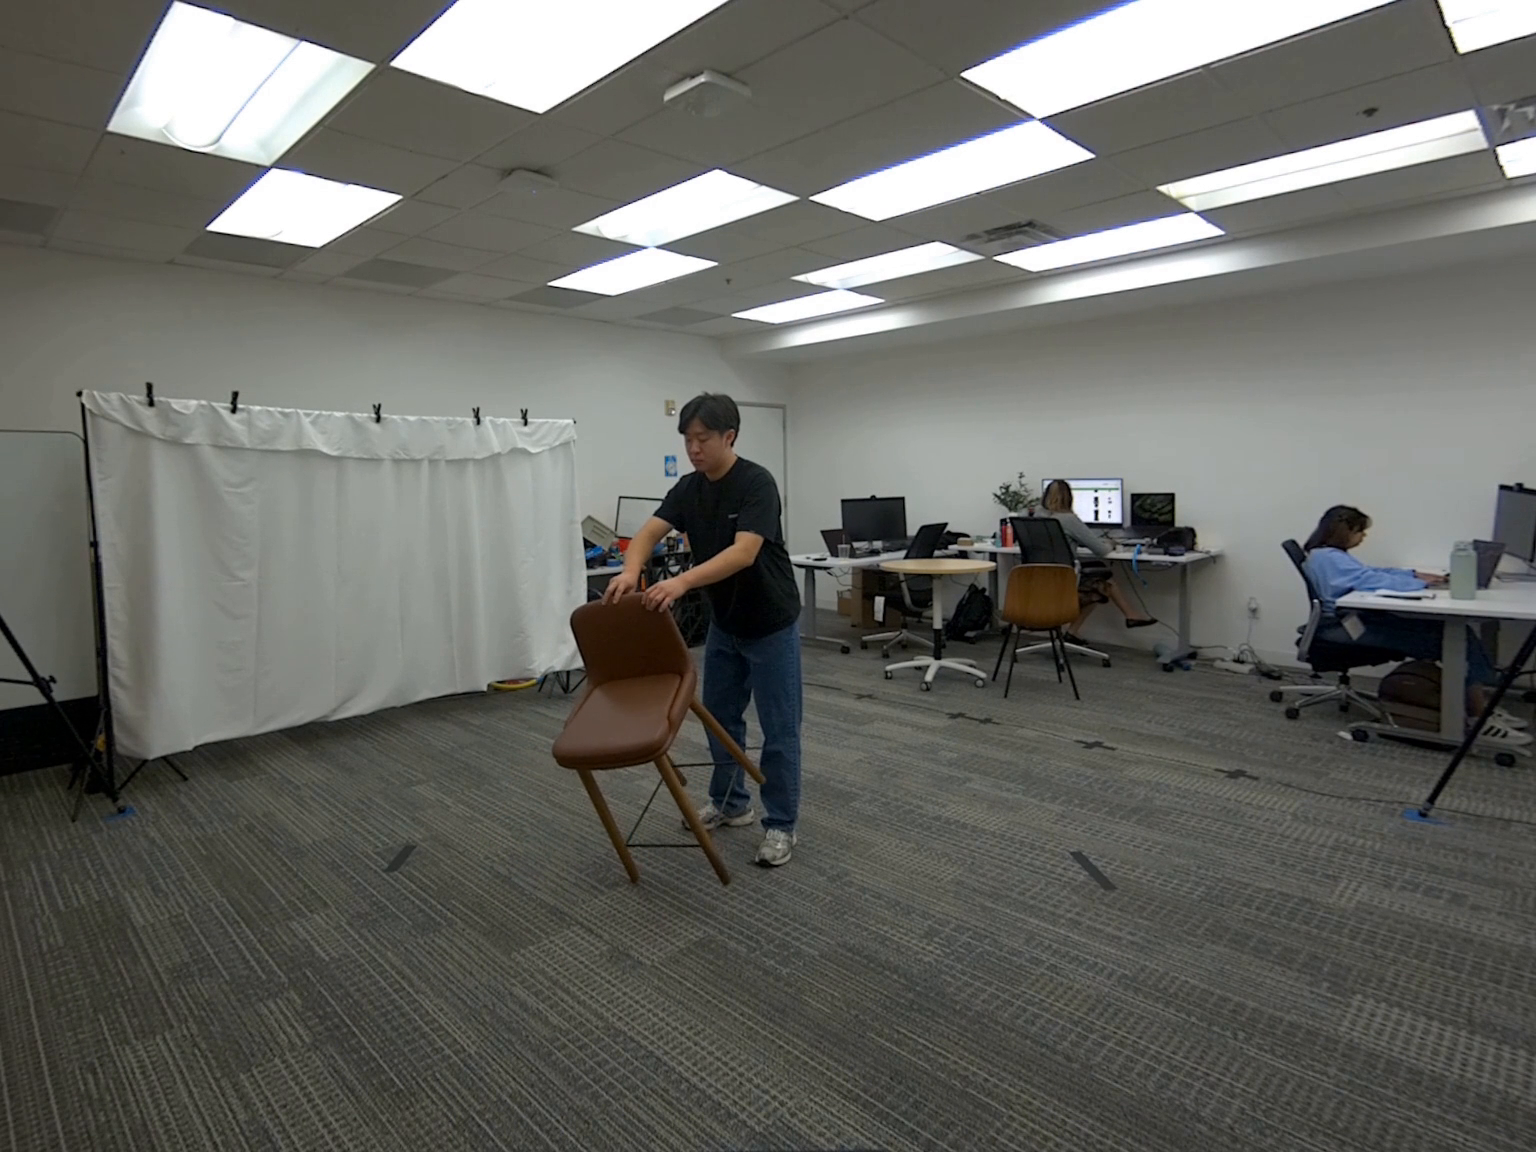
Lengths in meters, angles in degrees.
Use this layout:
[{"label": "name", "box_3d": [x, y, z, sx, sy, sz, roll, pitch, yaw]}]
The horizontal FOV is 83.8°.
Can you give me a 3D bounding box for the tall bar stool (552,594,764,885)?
[{"label": "tall bar stool", "box_3d": [-0.406, 0.558, 2.872, 0.466, 0.866, 0.471, -10, 28, 29]}]
